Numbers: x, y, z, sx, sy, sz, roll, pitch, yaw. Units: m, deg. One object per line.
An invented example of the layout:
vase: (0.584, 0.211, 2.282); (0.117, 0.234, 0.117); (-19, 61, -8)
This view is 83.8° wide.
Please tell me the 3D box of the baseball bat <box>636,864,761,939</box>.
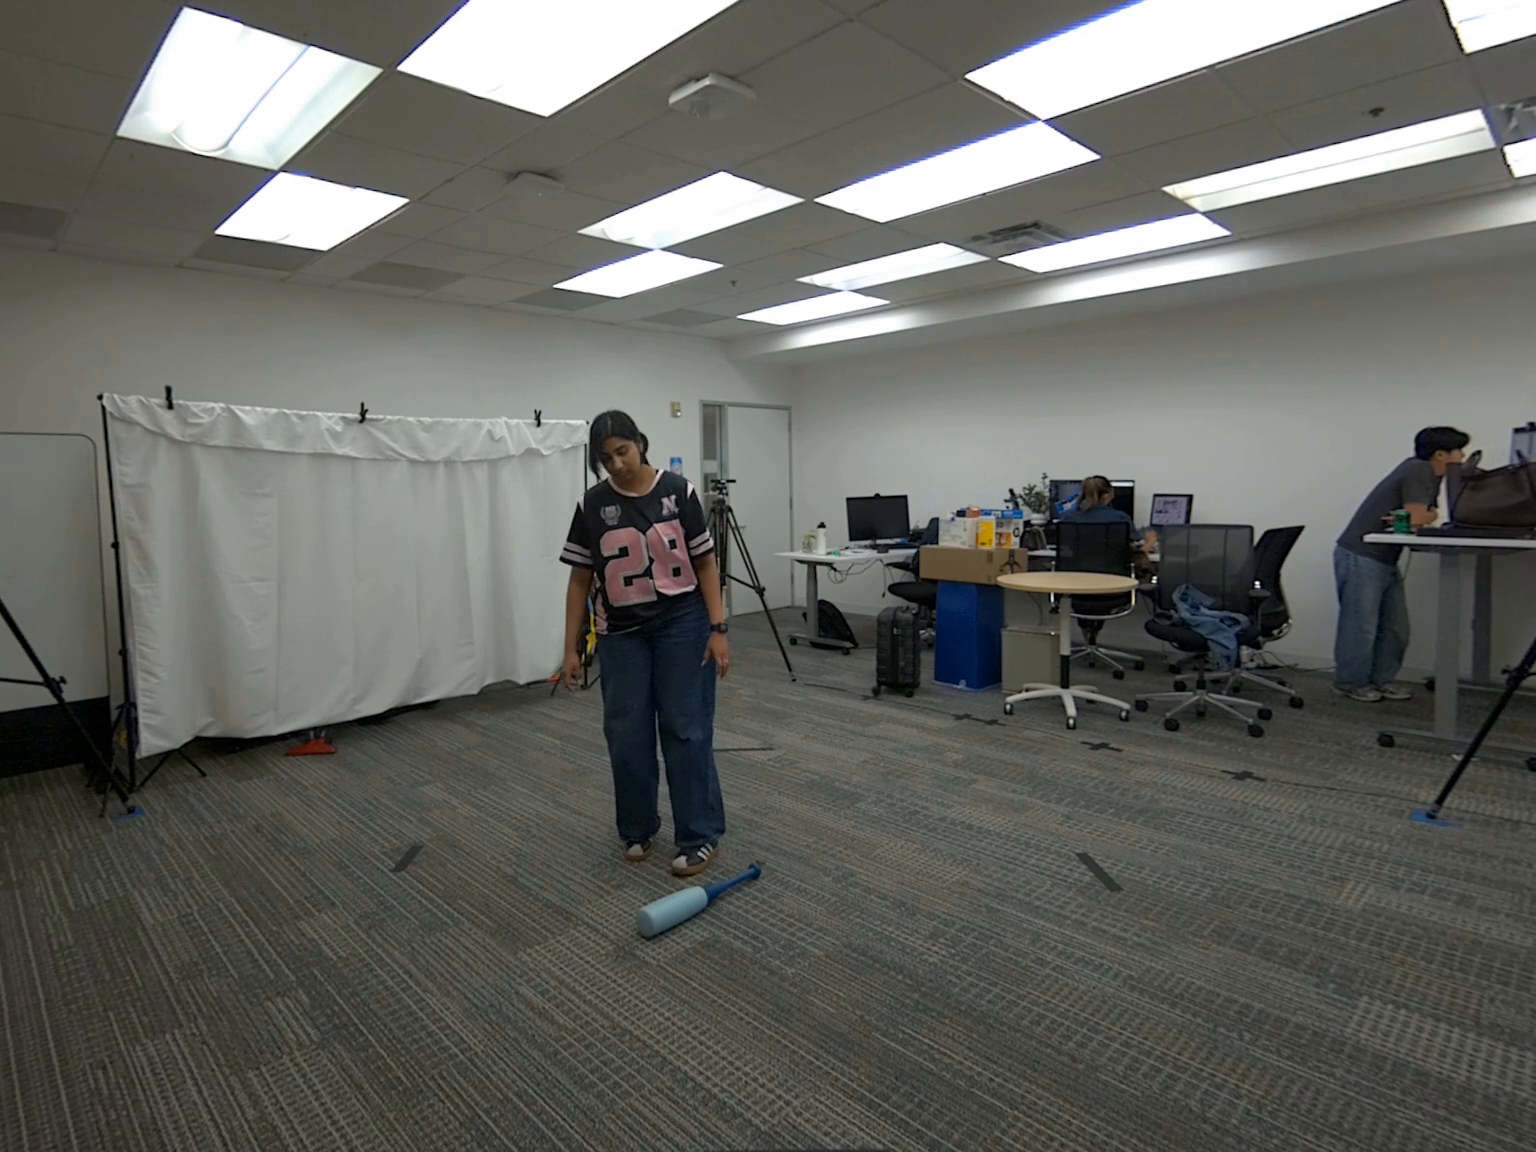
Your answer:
baseball bat: (-0.208, 1.052, 2.801); (0.092, 0.089, 0.528); (3, 5, 42)
